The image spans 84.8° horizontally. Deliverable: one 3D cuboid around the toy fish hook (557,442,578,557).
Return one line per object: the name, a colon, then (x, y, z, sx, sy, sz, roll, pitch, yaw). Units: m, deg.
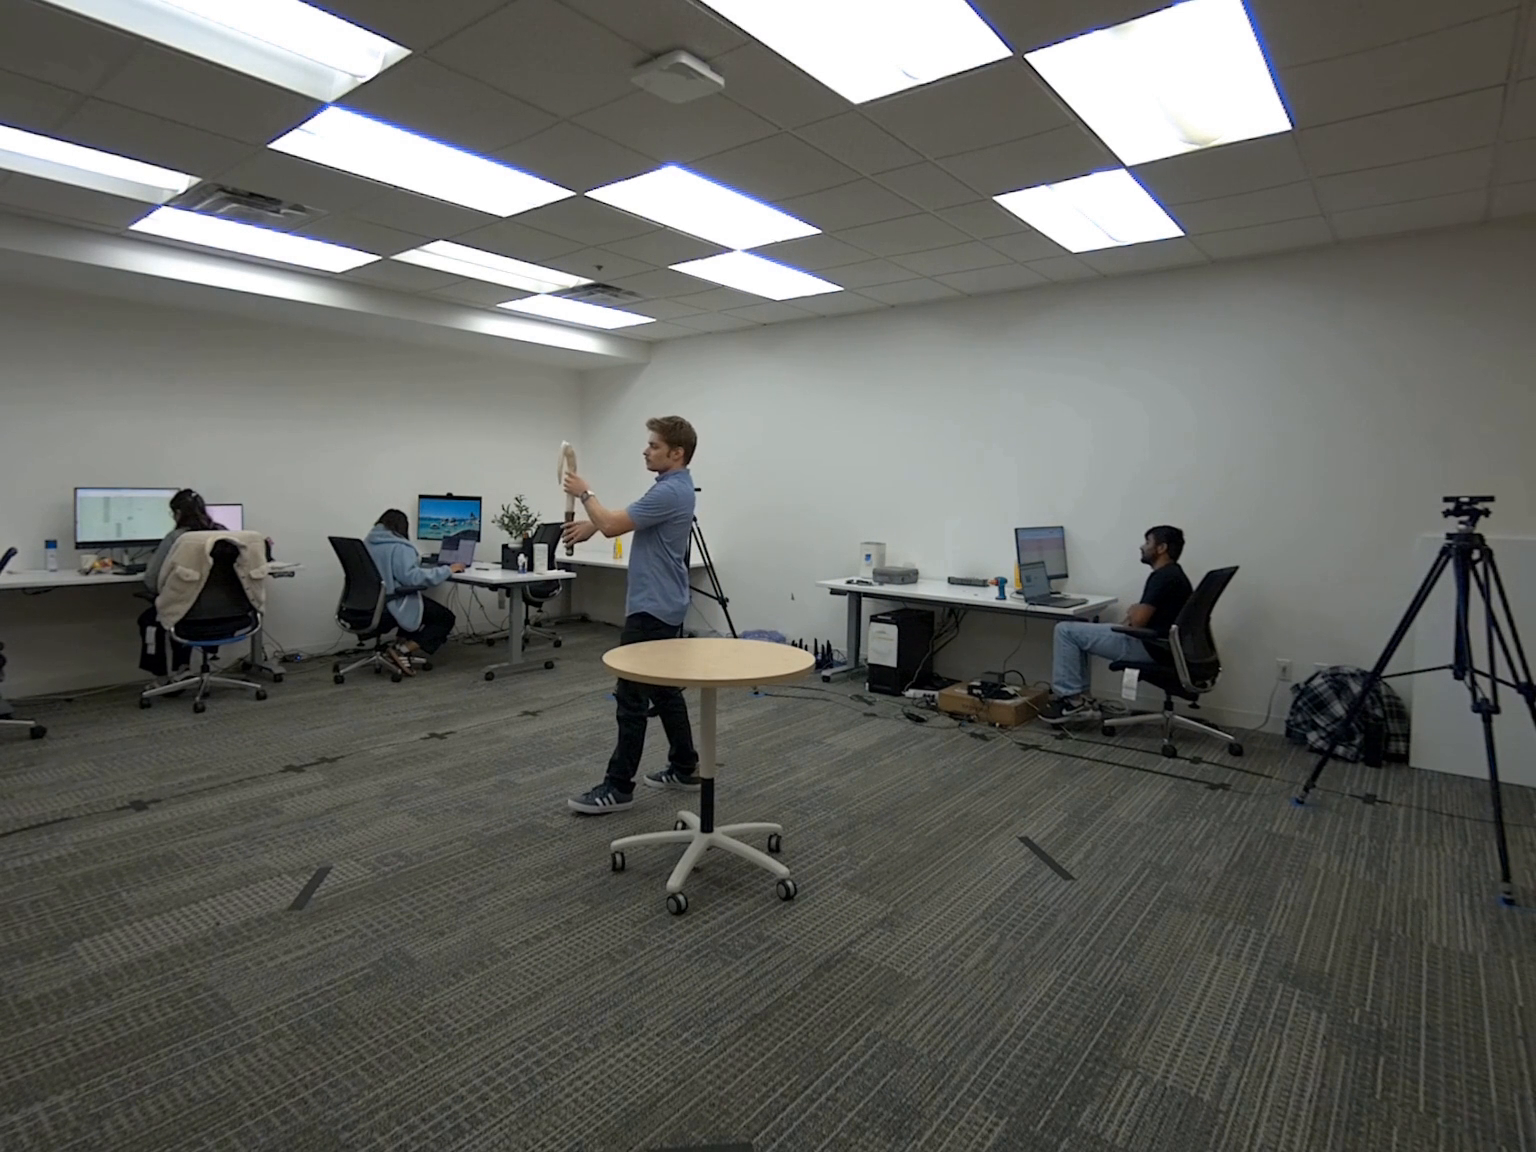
toy fish hook: (-0.919, -0.349, 3.809, 0.049, 0.507, 0.222, -1, -1, 9)
